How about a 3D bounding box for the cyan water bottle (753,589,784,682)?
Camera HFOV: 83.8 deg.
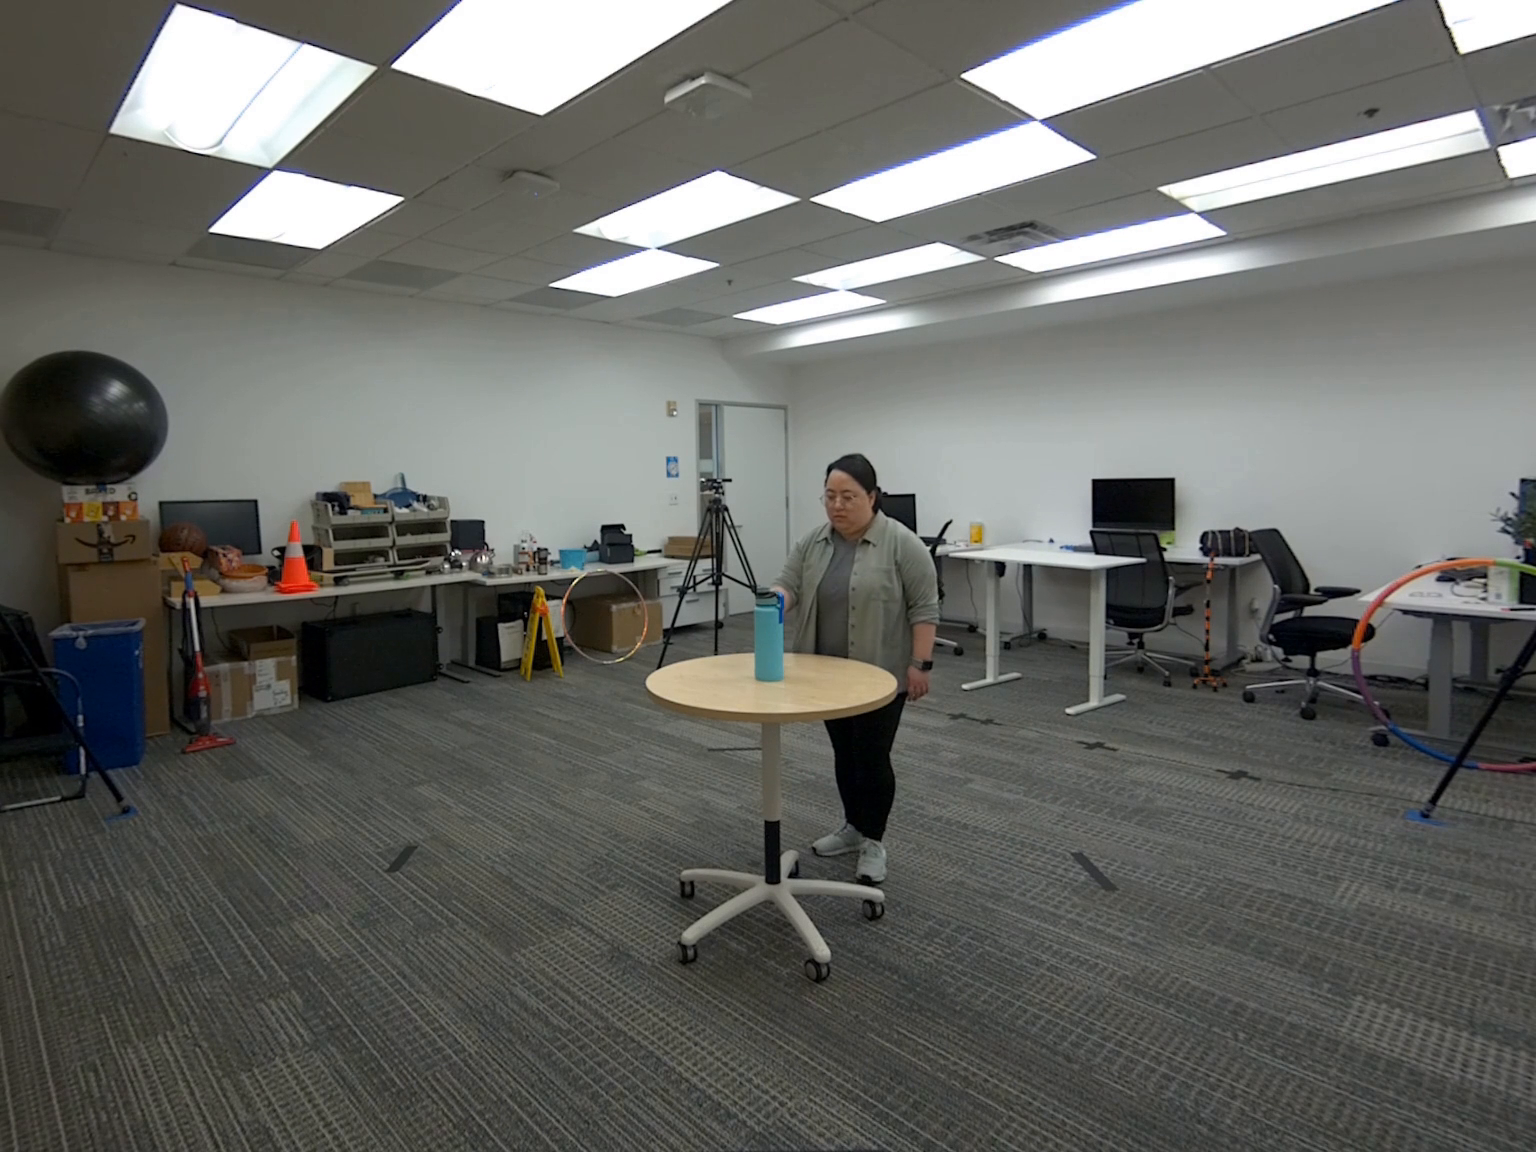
[{"bbox_3d":[0.009,0.176,2.620,0.092,0.283,0.092,1,2,-2],"label":"cyan water bottle"}]
